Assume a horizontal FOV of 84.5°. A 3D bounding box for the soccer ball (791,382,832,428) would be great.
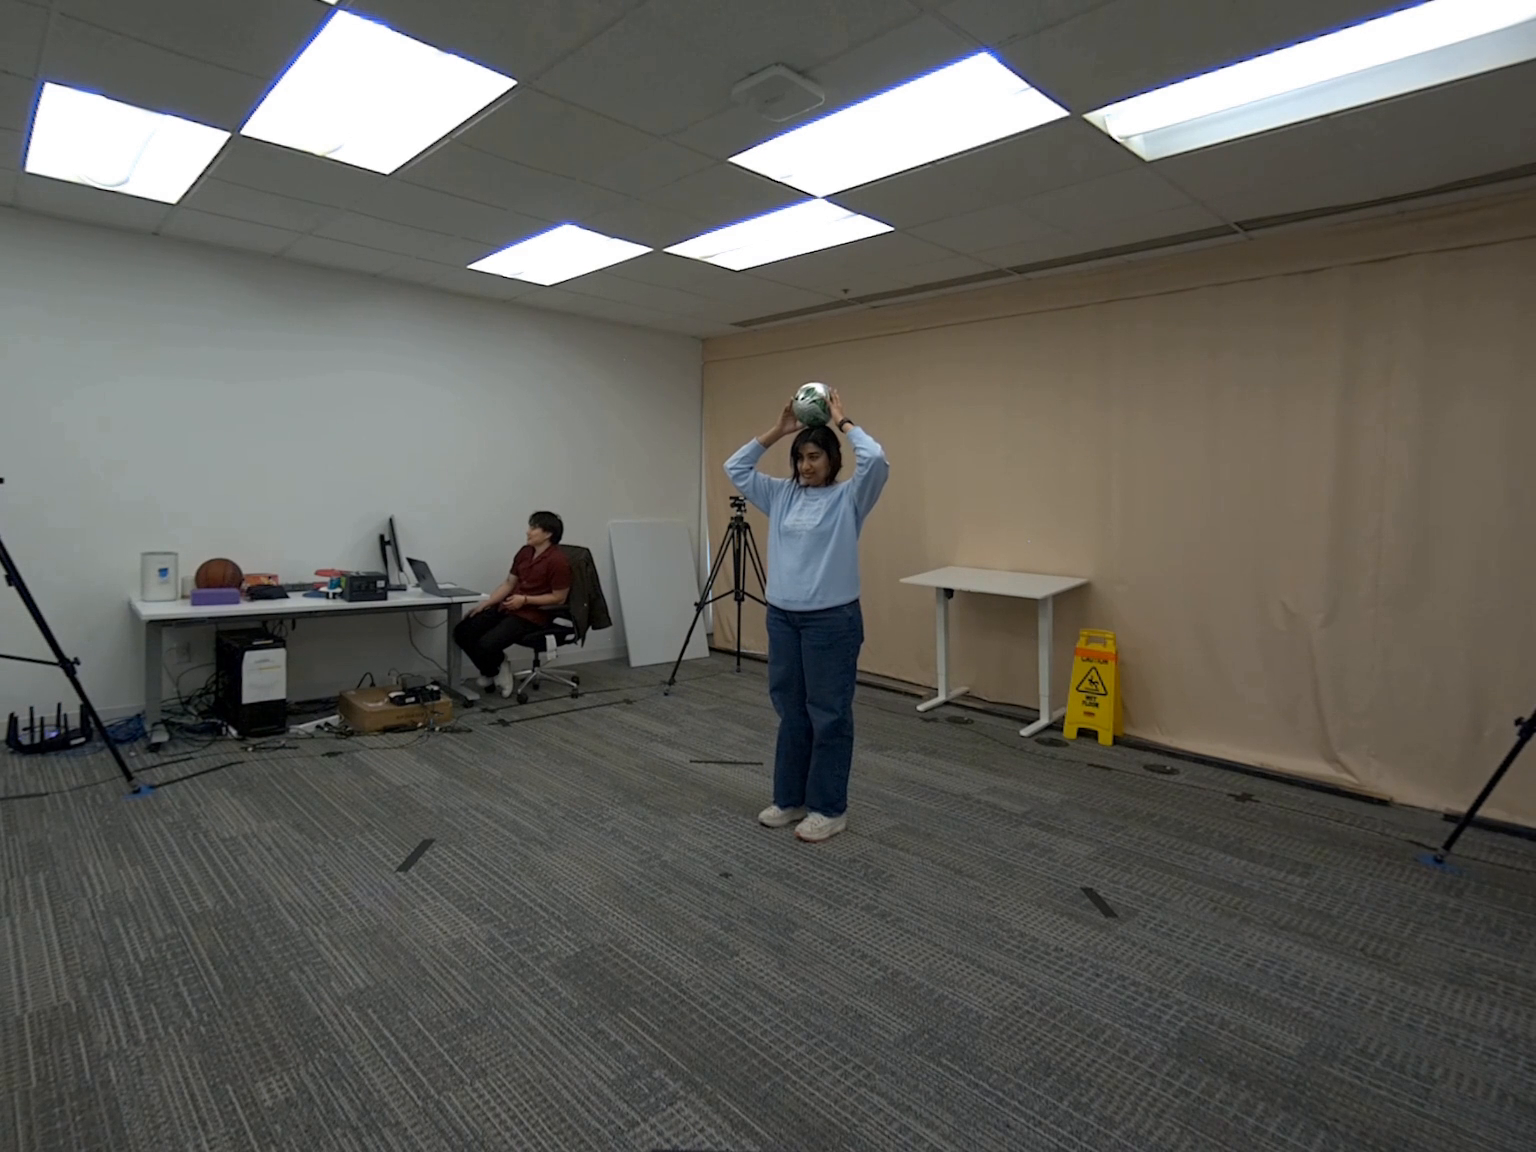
[{"bbox_3d":[0.185,-0.710,3.513,0.187,0.187,0.188,1,4,-1],"label":"soccer ball"}]
